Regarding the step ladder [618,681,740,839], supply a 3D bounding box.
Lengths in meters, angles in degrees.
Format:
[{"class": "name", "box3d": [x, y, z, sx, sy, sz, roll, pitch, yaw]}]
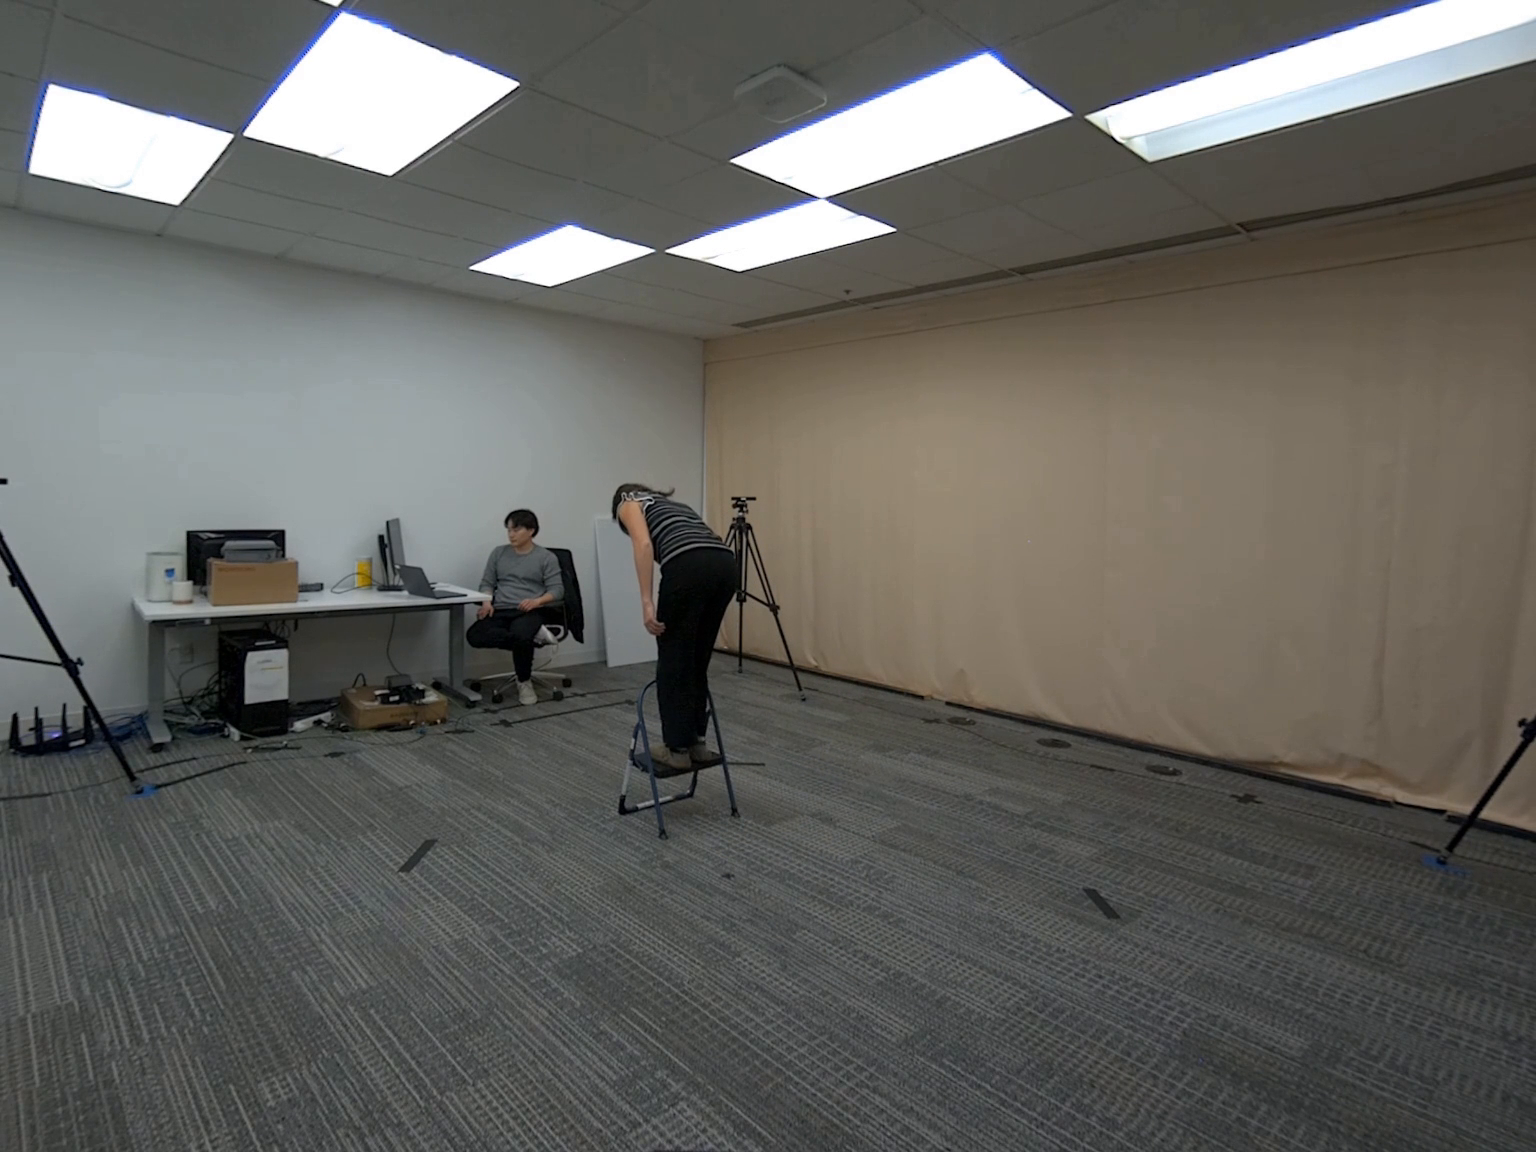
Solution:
[{"class": "step ladder", "box3d": [-0.393, 0.750, 3.680, 0.421, 0.605, 0.358, -1, 4, -43]}]
